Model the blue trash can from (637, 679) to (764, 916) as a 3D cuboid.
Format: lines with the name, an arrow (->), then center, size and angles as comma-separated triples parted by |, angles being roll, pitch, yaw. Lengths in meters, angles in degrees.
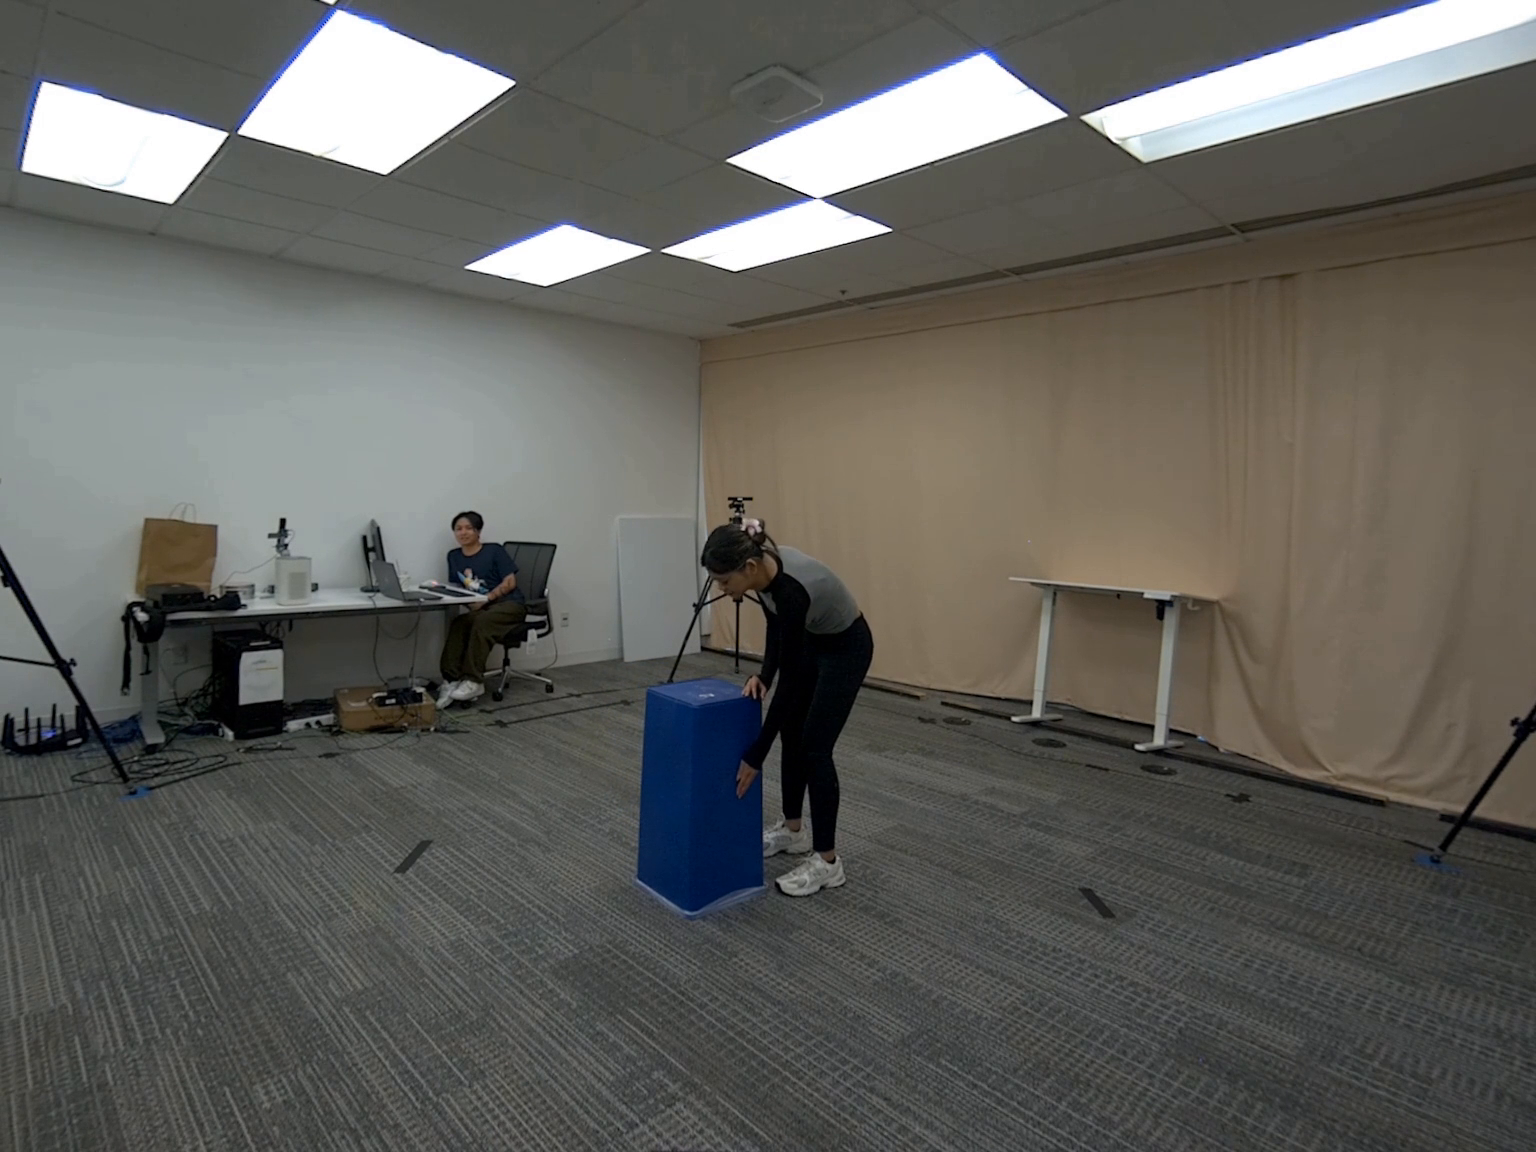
blue trash can -> -0.242, 0.765, 2.991 | 0.369, 0.711, 0.384 | -2, 6, -40
